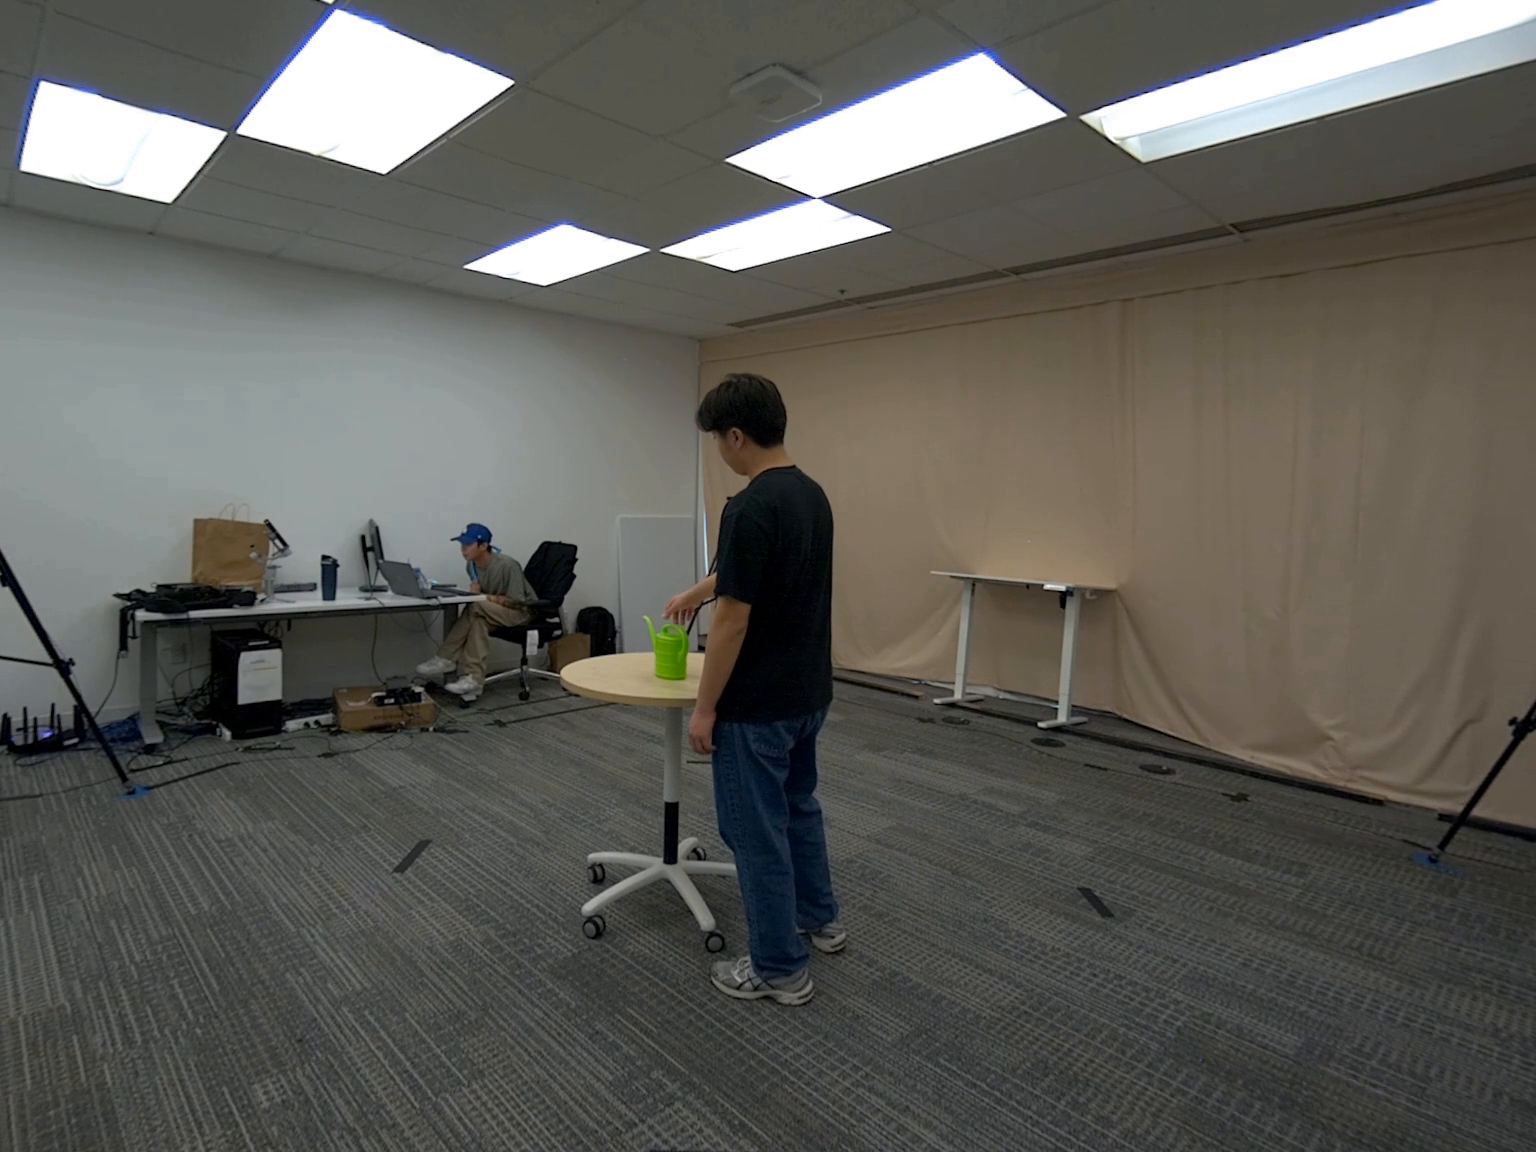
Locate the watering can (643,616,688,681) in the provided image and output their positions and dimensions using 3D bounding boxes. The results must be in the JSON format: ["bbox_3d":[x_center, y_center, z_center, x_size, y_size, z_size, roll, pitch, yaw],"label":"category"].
[{"bbox_3d":[-0.343,0.243,2.825,0.096,0.176,0.284,1,5,-23],"label":"watering can"}]
